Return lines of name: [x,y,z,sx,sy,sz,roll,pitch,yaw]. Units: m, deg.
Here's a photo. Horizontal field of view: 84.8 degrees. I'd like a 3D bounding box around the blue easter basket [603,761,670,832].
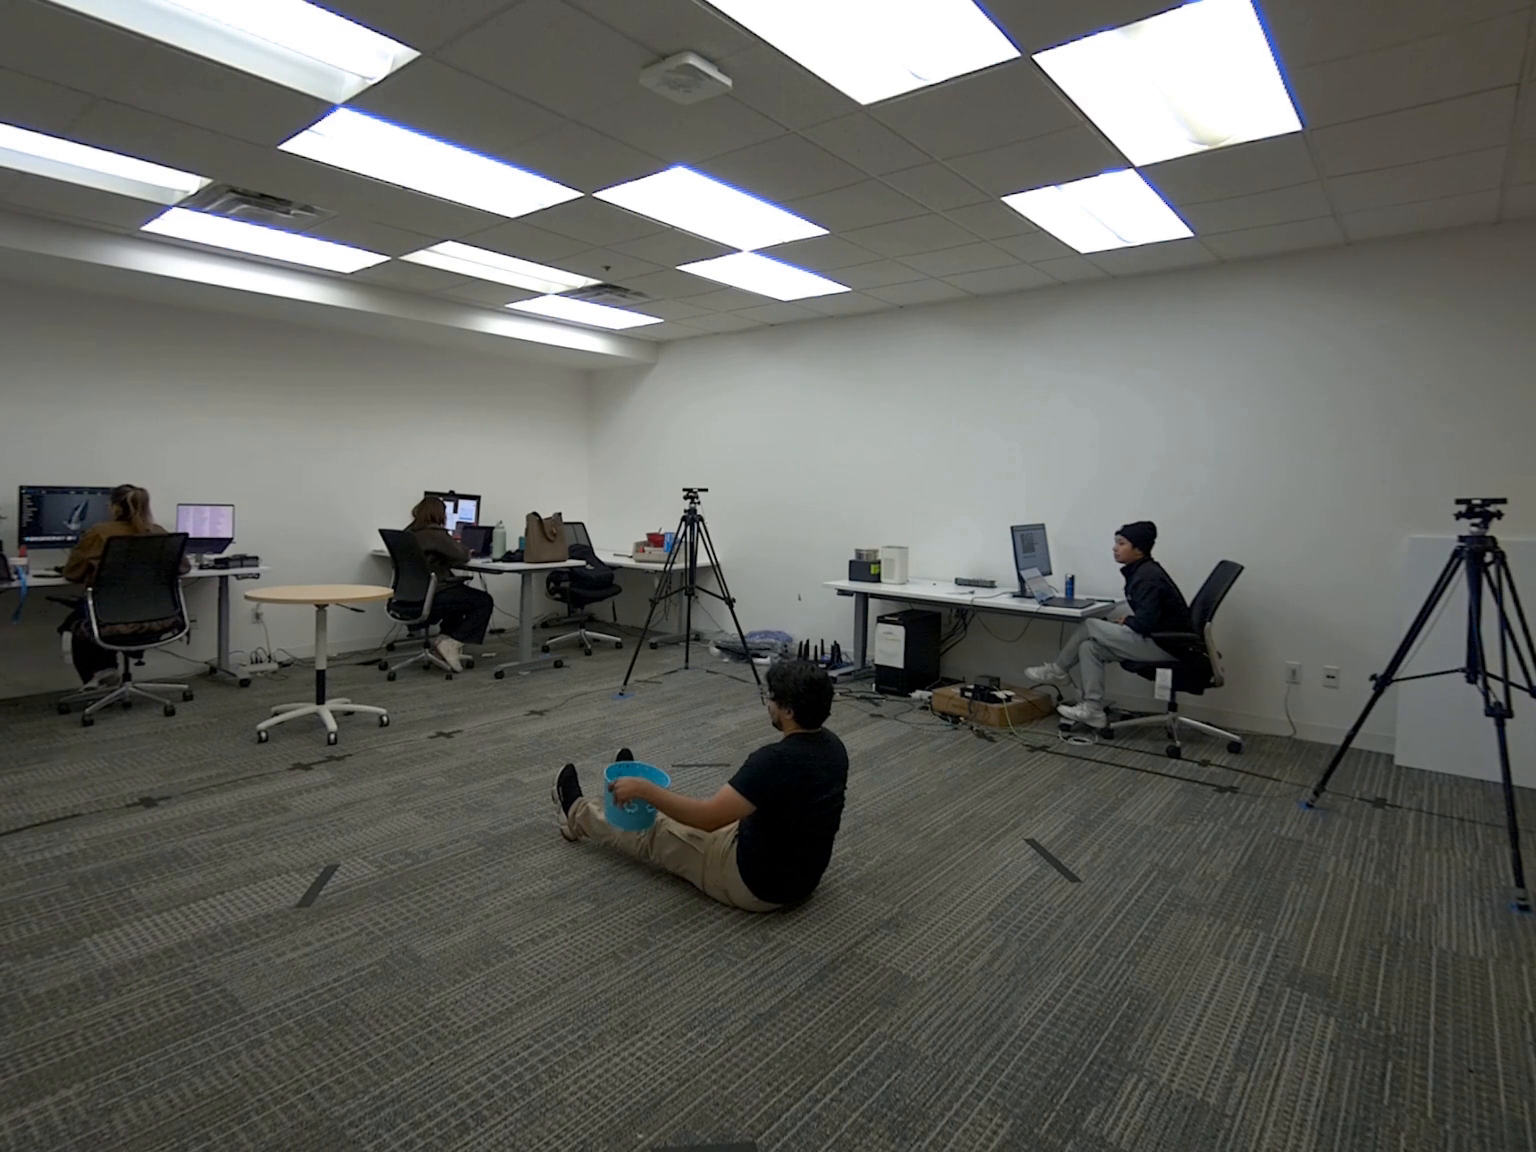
blue easter basket: [-0.457,0.773,2.942,0.243,0.155,0.246,8,9,-3]
